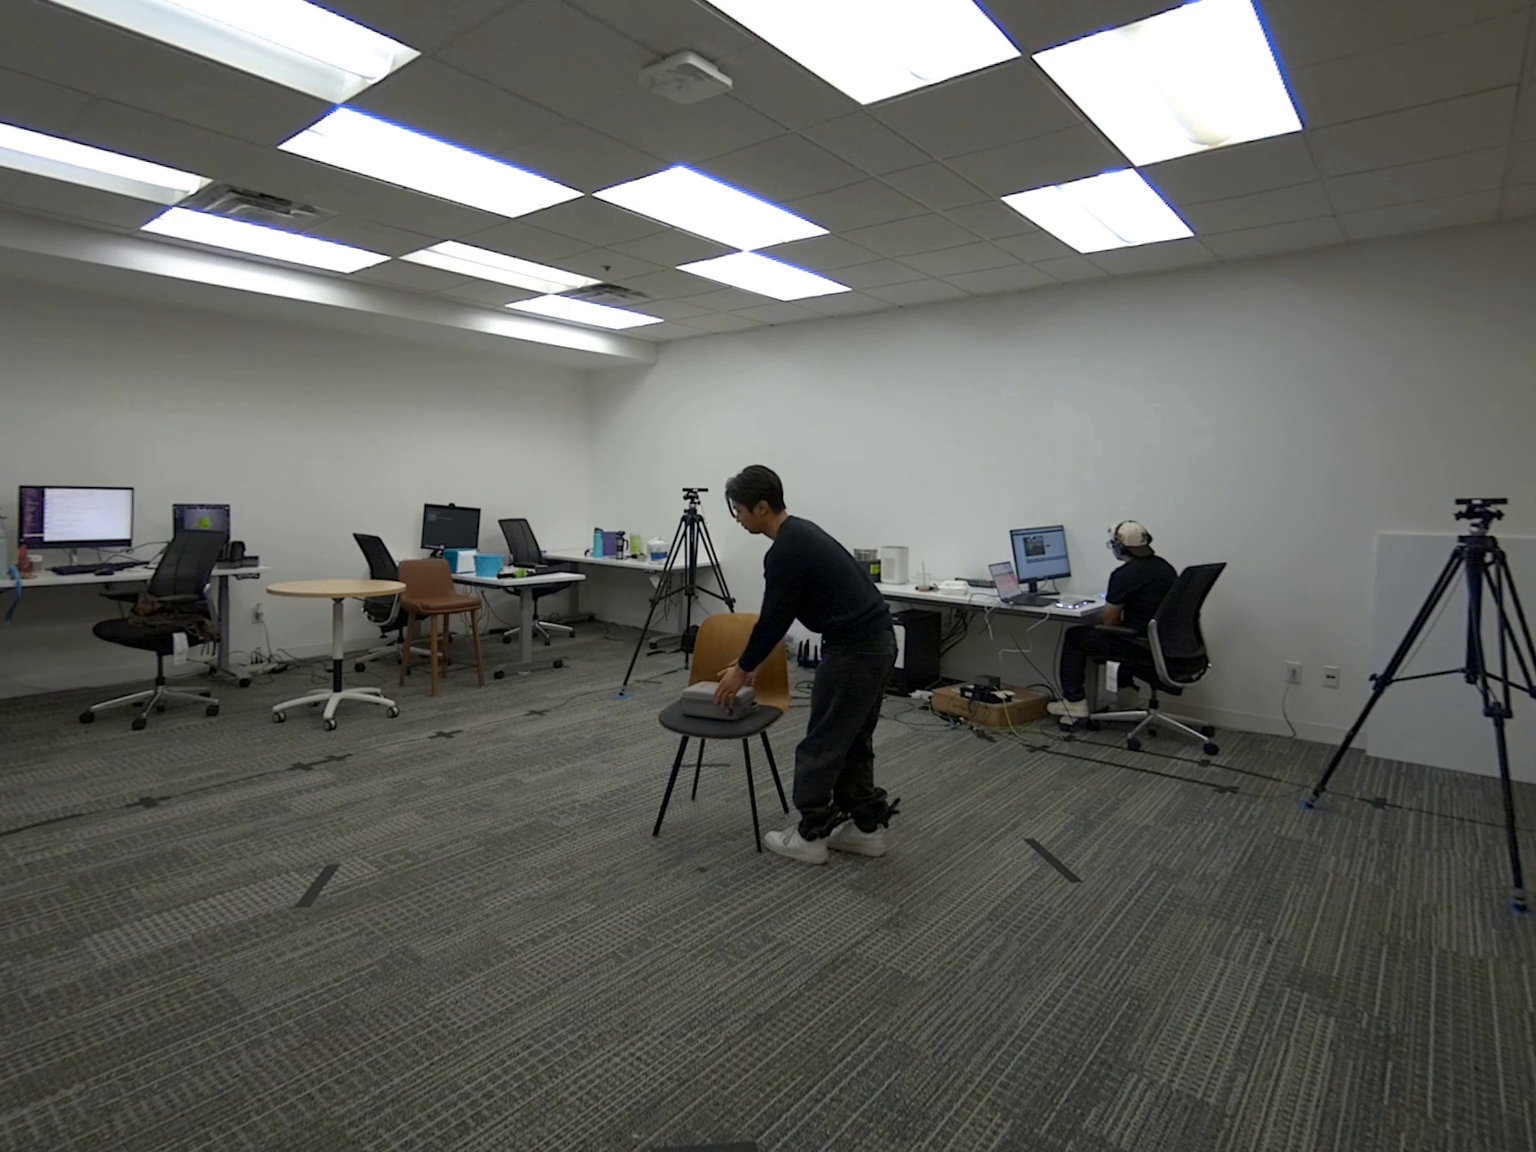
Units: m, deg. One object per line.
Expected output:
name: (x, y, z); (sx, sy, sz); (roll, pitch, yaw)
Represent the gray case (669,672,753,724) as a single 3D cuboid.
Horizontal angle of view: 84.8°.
gray case: (-0.234, 0.497, 3.464); (0.266, 0.104, 0.253); (10, 6, 16)
